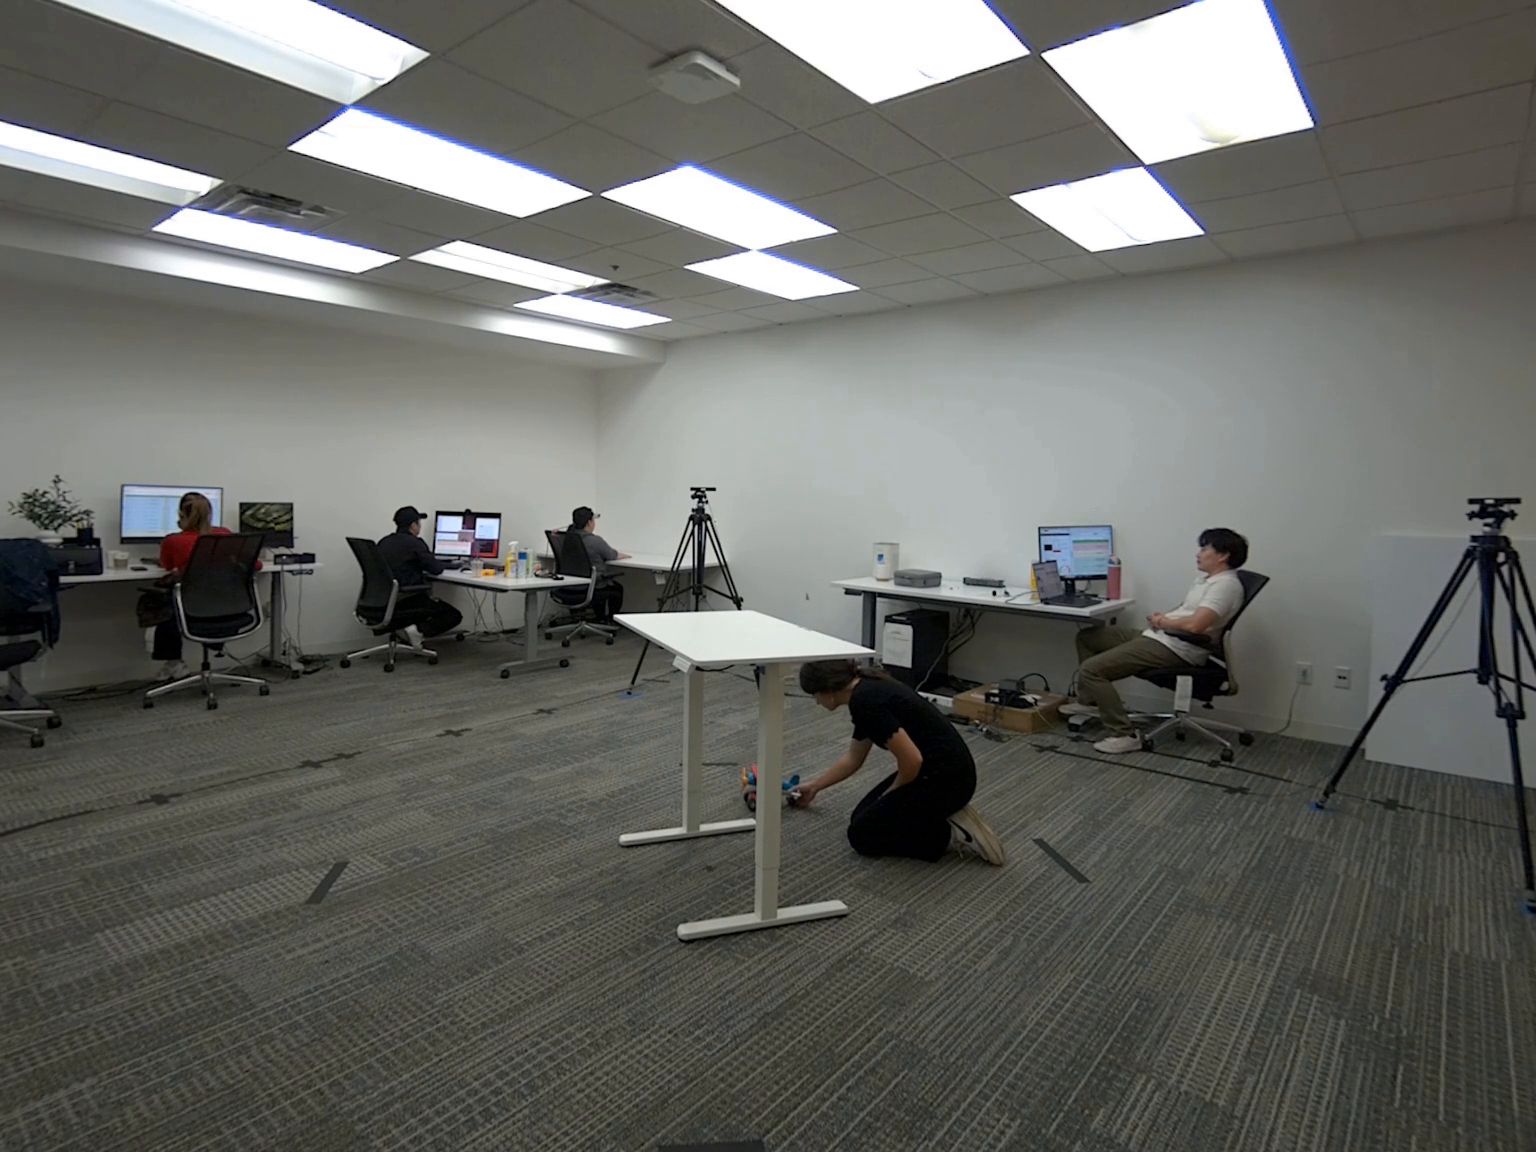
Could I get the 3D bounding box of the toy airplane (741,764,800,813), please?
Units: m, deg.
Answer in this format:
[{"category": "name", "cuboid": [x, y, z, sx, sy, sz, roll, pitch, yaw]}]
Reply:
[{"category": "toy airplane", "cuboid": [-0.007, 0.930, 3.756, 0.252, 0.156, 0.259, -6, 7, -39]}]
